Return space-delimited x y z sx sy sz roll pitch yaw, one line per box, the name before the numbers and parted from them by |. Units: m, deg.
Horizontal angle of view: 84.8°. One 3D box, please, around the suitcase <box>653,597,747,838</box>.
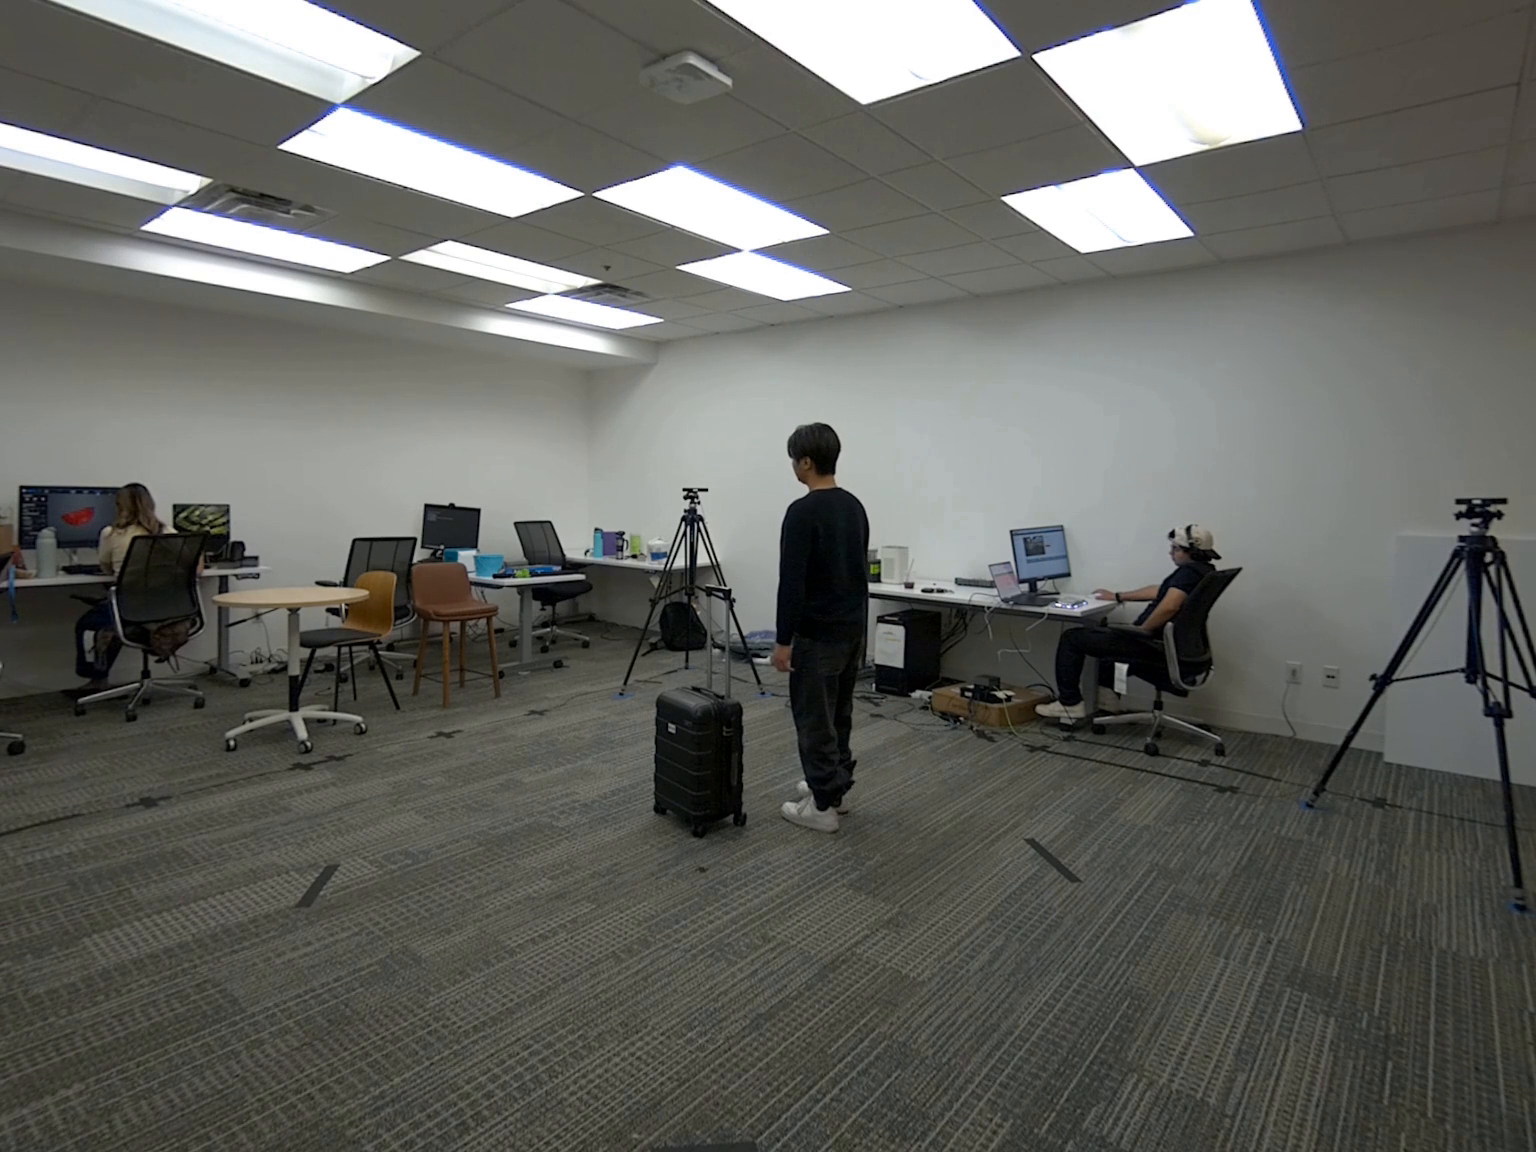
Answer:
suitcase | -0.313 0.552 3.542 0.250 0.974 0.396 -5 6 -36
